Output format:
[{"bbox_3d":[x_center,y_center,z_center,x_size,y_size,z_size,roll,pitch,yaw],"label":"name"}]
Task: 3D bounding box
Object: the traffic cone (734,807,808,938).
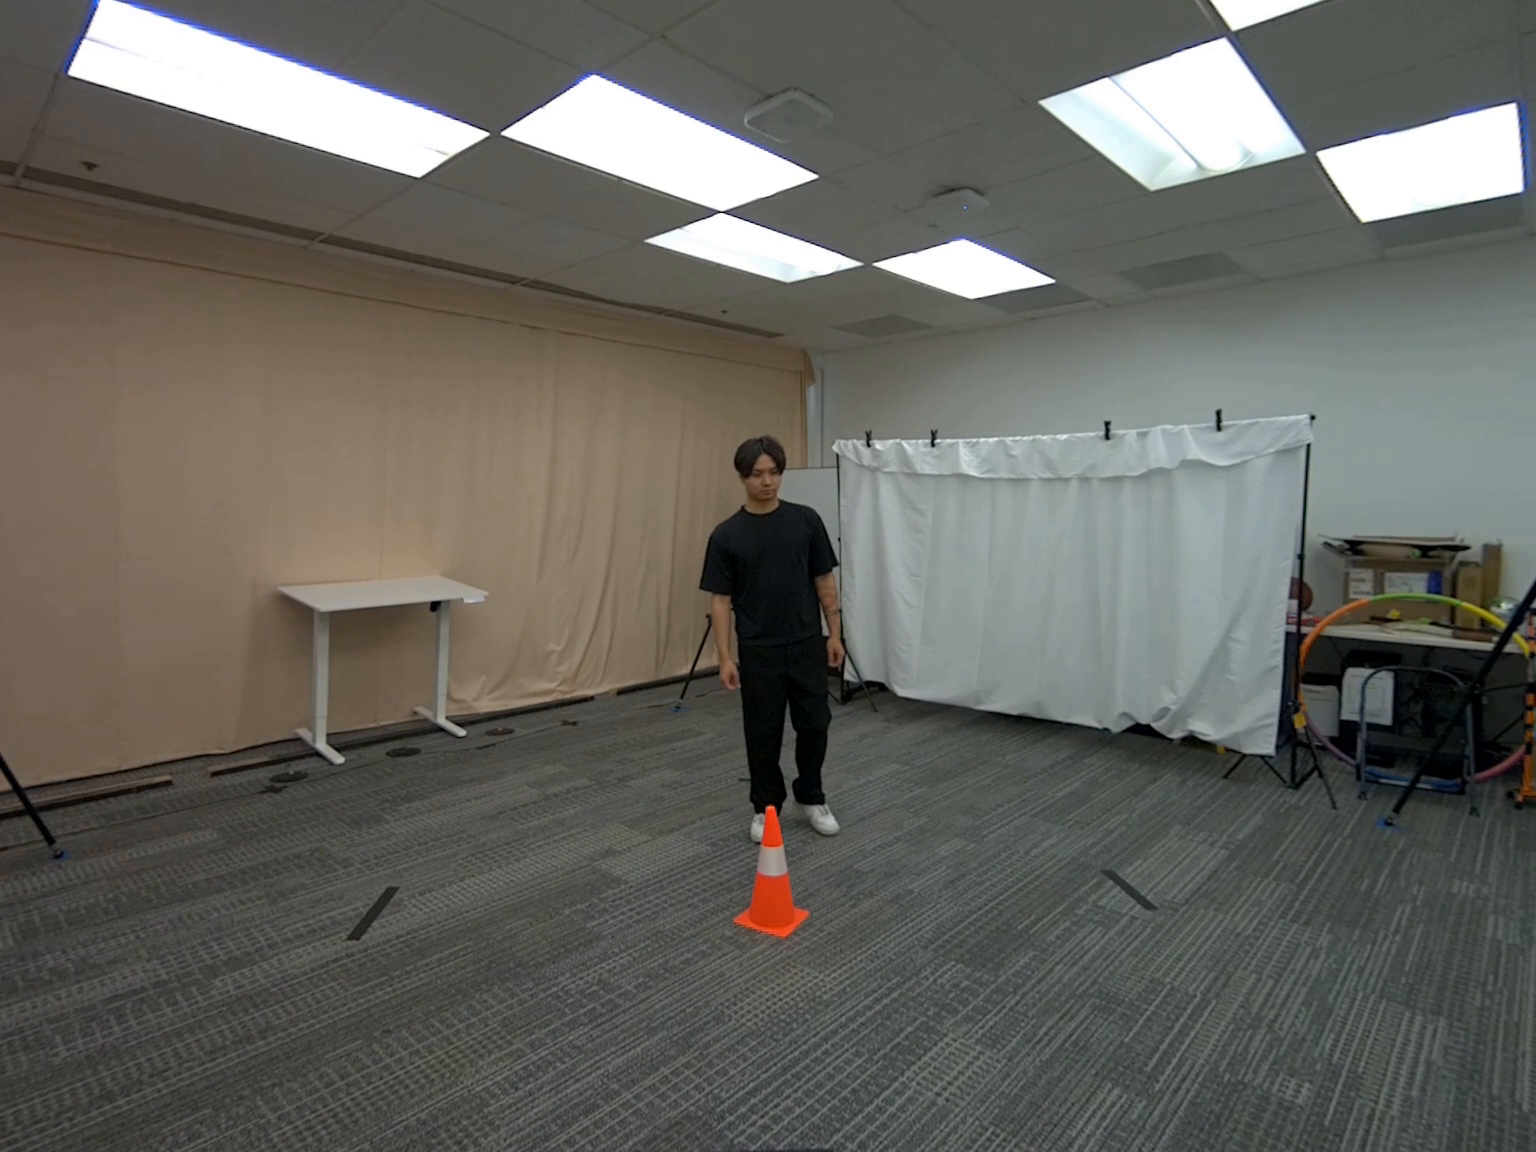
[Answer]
[{"bbox_3d":[0.012,0.970,2.846,0.210,0.383,0.198,0,2,27],"label":"traffic cone"}]
